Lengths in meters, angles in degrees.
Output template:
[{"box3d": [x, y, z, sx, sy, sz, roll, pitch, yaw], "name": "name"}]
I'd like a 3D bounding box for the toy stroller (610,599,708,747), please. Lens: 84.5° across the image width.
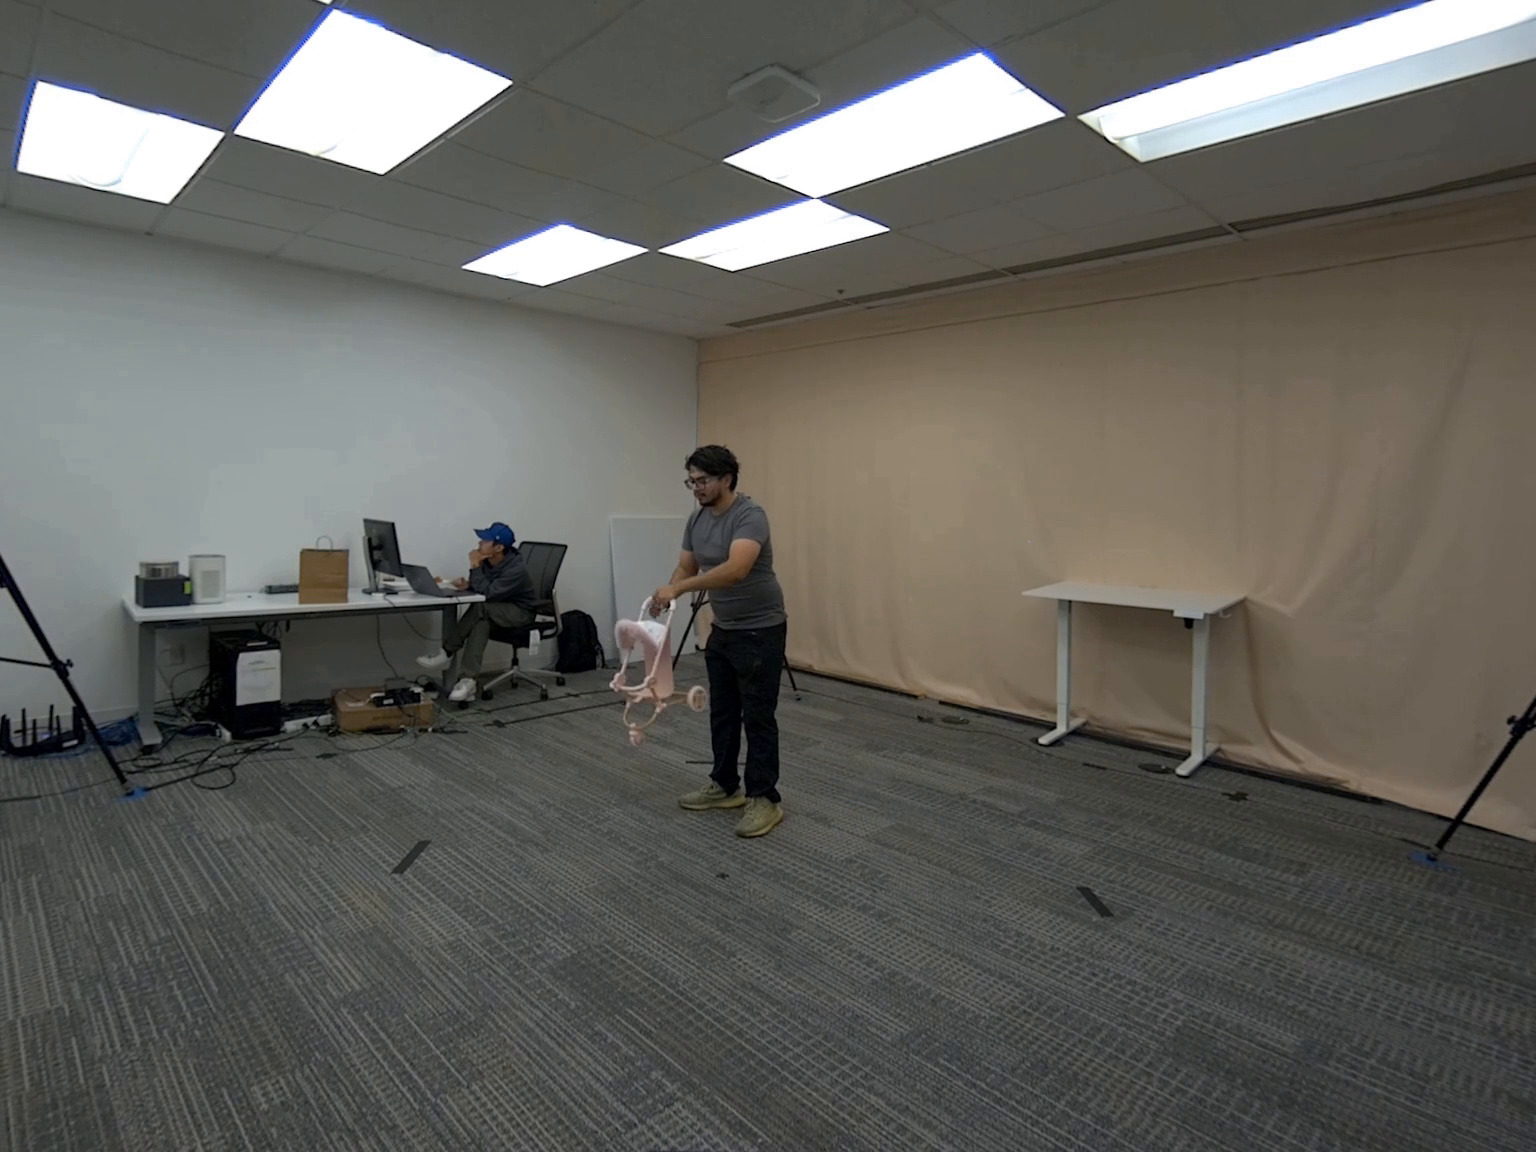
[{"box3d": [-0.495, 0.384, 3.387, 0.336, 0.530, 0.288, -21, 14, -40], "name": "toy stroller"}]
